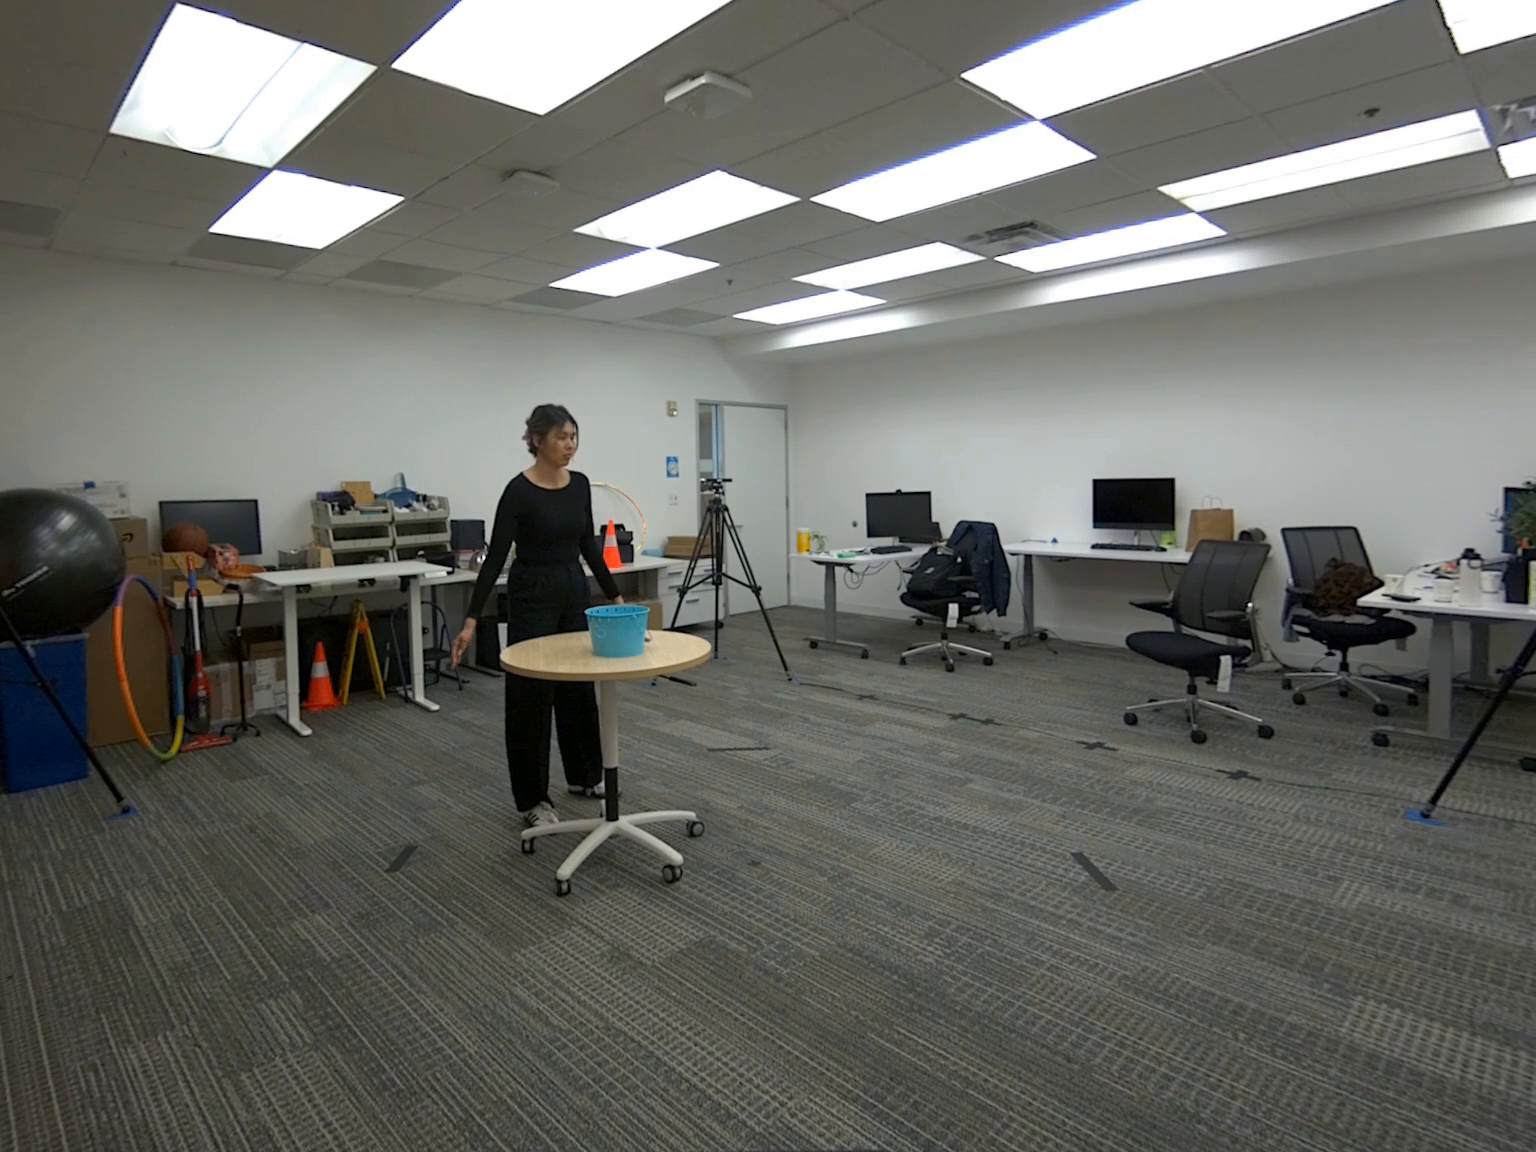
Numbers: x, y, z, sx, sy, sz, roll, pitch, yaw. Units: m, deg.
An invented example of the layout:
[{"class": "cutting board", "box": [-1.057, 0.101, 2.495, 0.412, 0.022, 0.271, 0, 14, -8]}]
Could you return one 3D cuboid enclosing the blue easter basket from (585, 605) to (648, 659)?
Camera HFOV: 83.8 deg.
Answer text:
[{"class": "blue easter basket", "box": [-0.537, 0.202, 3.068, 0.243, 0.155, 0.245, -2, 6, -2]}]
